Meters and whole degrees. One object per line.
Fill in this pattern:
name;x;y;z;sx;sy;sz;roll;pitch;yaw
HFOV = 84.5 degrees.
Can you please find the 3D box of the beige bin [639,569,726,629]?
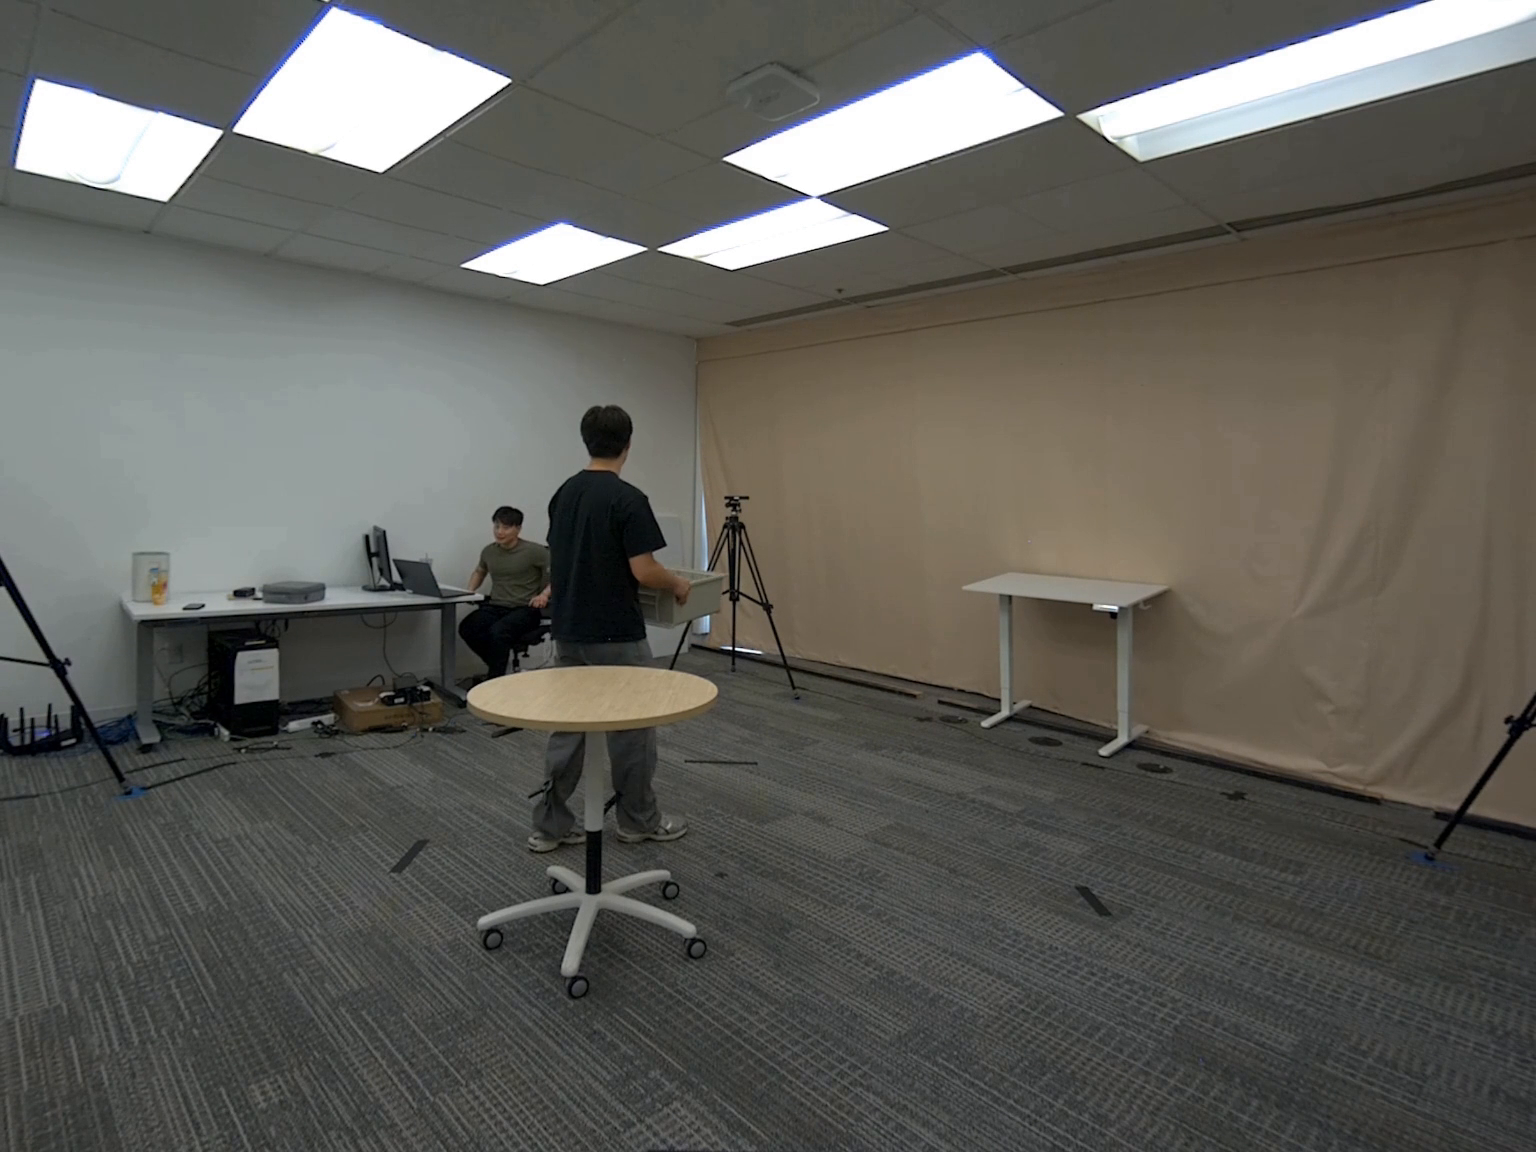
beige bin;-0.461;0.082;3.715;0.386;0.188;0.415;9;11;29
